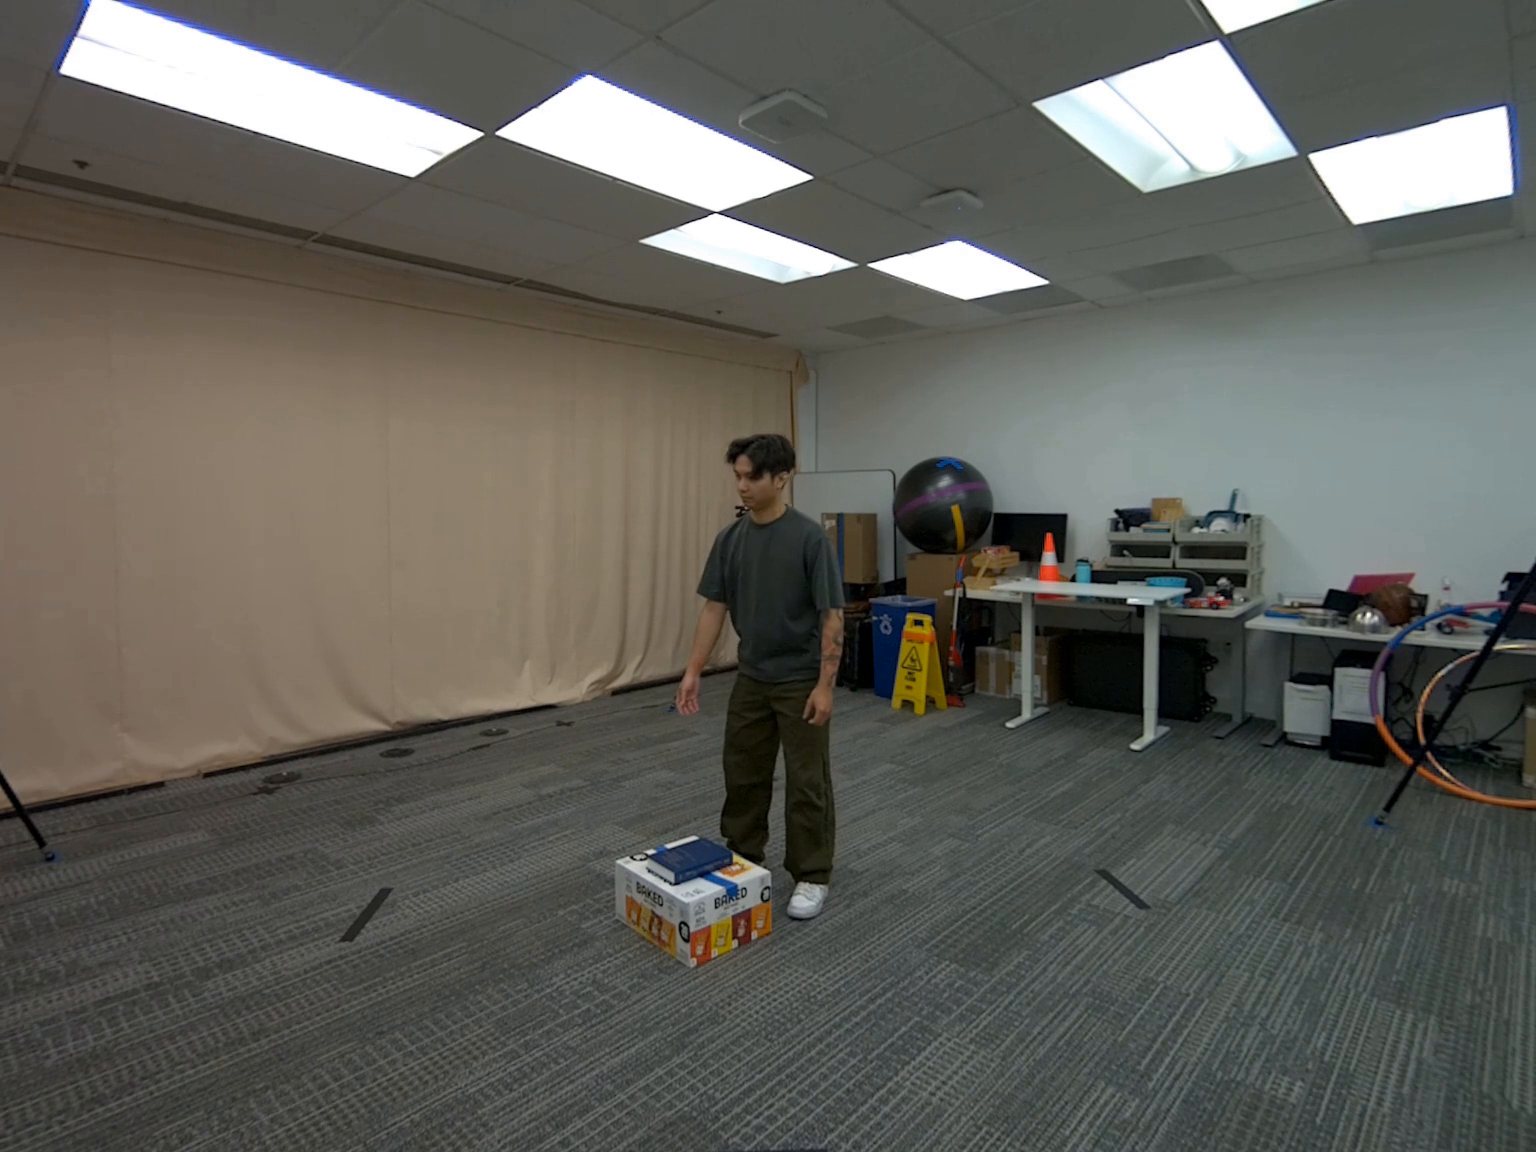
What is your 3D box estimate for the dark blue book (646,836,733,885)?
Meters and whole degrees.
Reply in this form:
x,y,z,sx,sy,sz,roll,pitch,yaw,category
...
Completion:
x,y,z,sx,sy,sz,roll,pitch,yaw,category
-0.262,0.949,2.791,0.238,0.045,0.169,-5,6,-41,dark blue book
